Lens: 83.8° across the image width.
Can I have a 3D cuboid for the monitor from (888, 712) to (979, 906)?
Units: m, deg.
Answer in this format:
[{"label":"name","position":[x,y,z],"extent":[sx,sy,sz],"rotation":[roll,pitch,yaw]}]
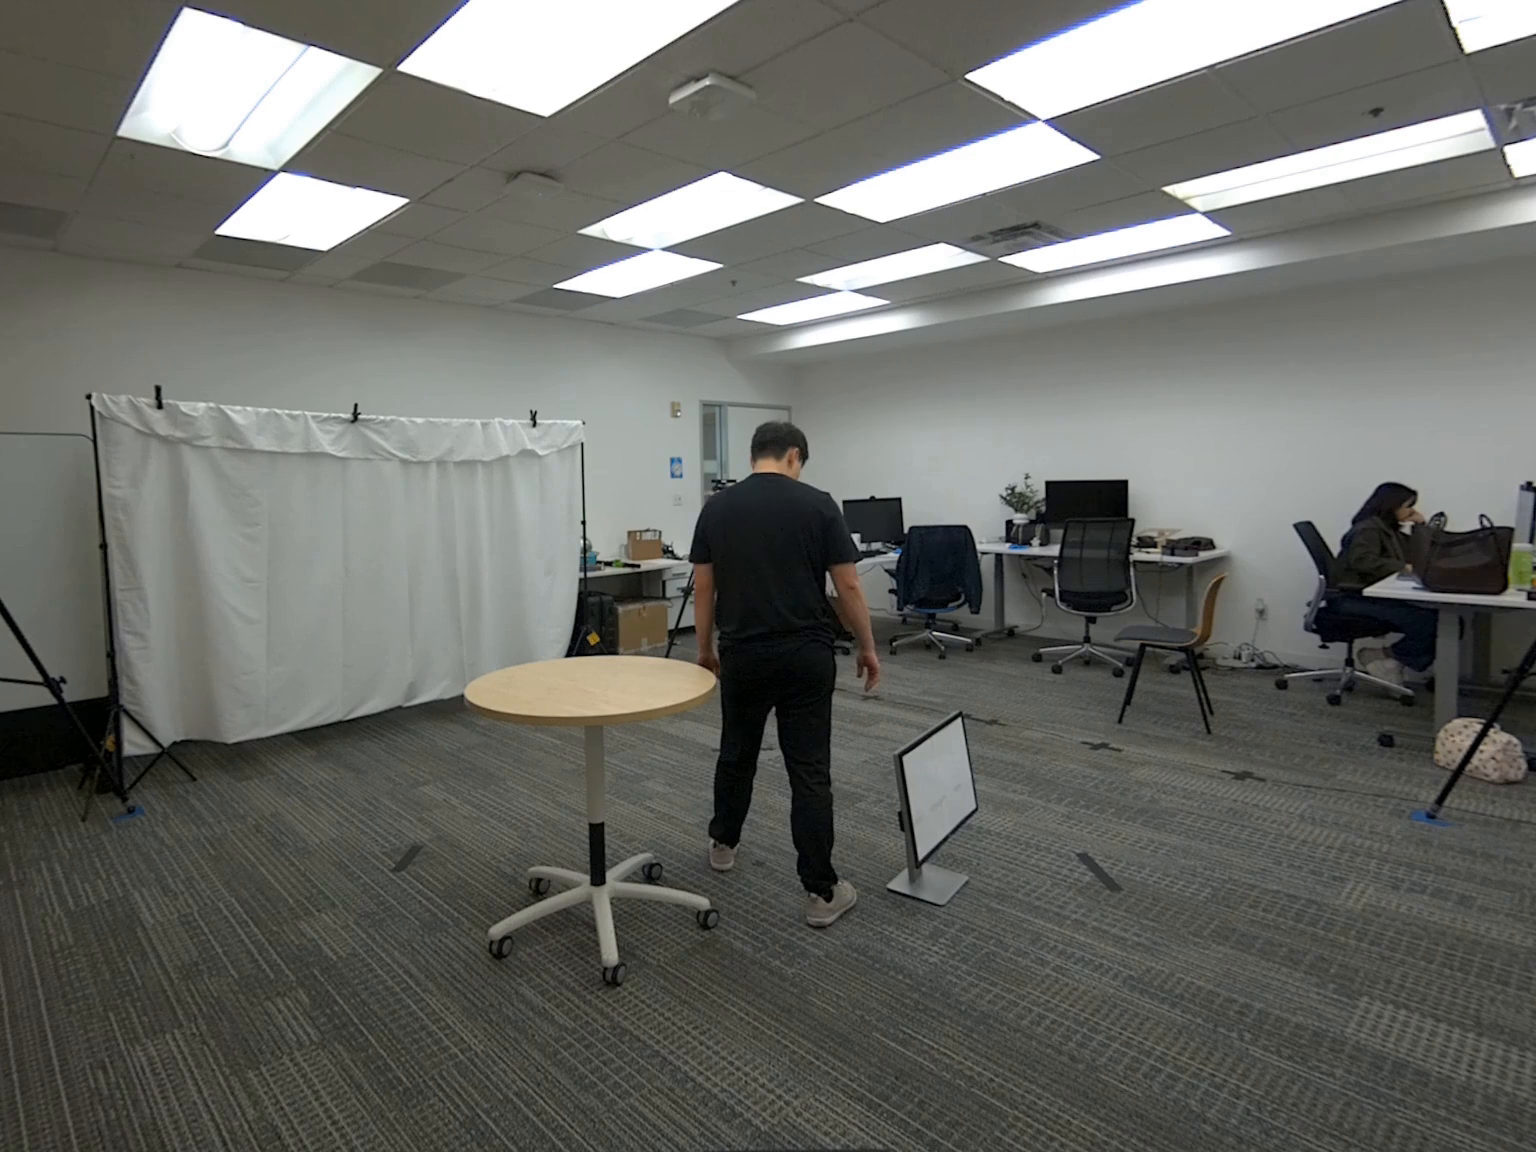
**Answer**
[{"label":"monitor","position":[0.547,0.792,2.905],"extent":[0.192,0.520,0.527],"rotation":[4,7,32]}]
